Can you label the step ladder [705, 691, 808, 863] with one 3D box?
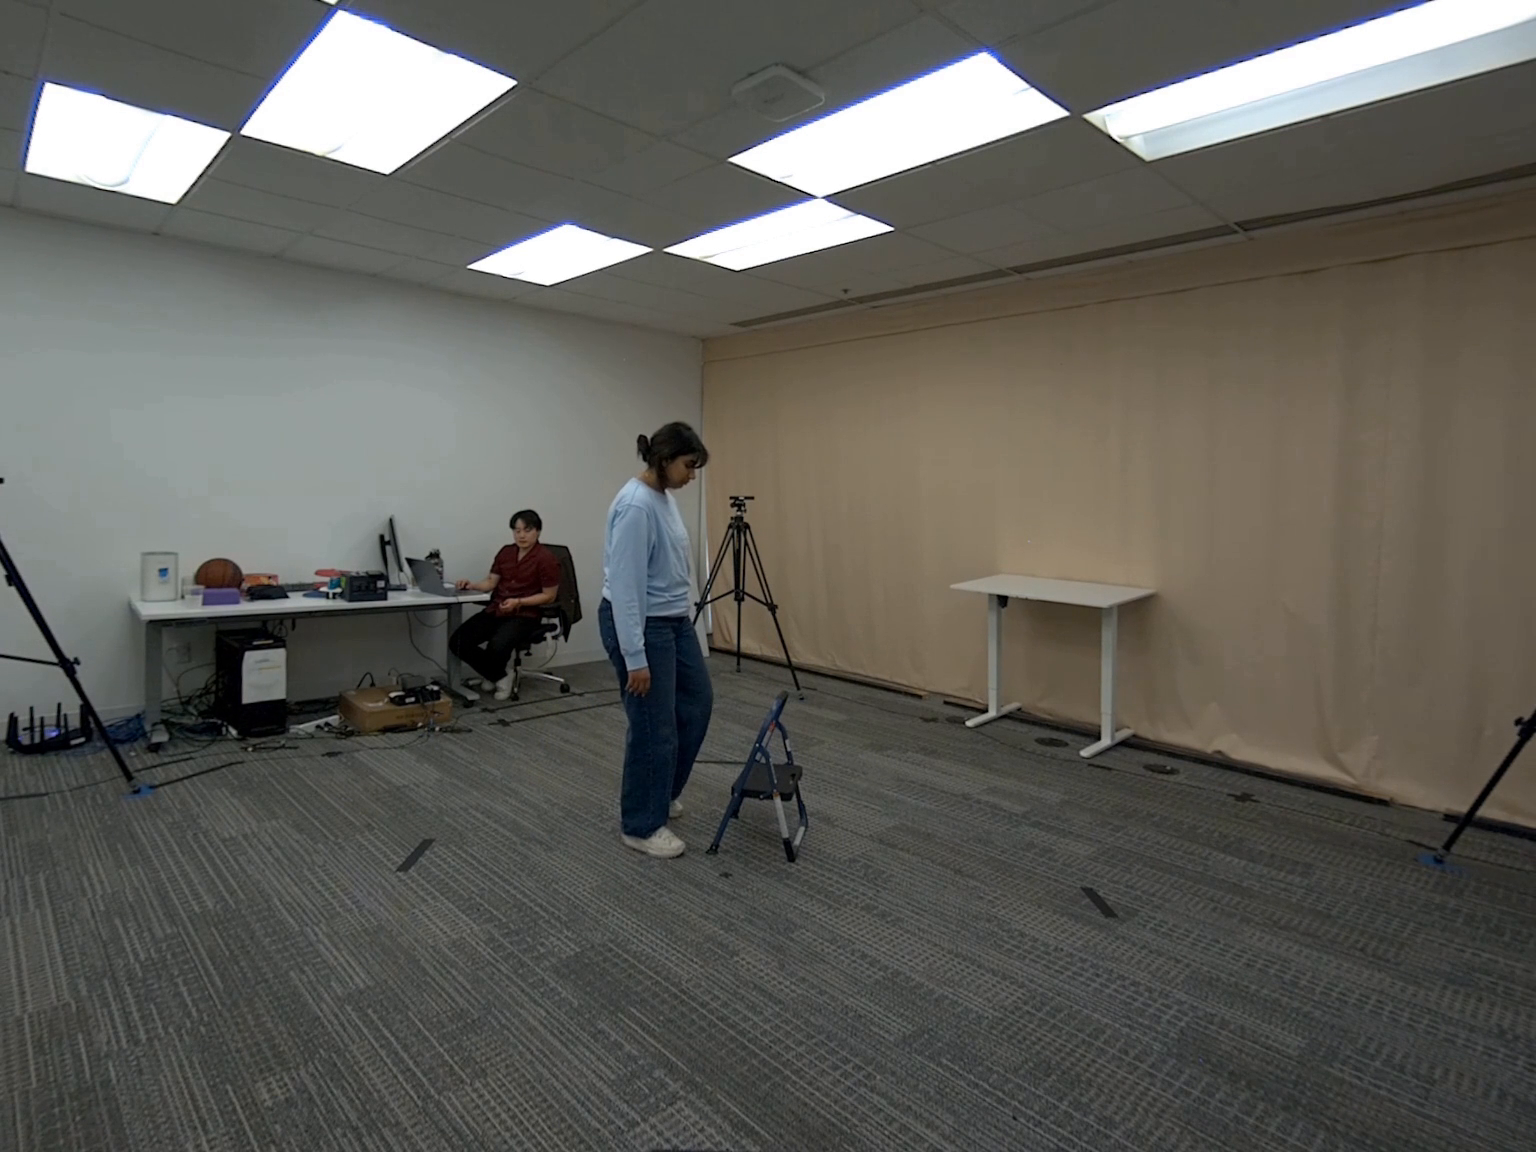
[{"bbox_3d":[-0.032,0.776,3.443,0.353,0.604,0.427,2,4,11],"label":"step ladder"}]
